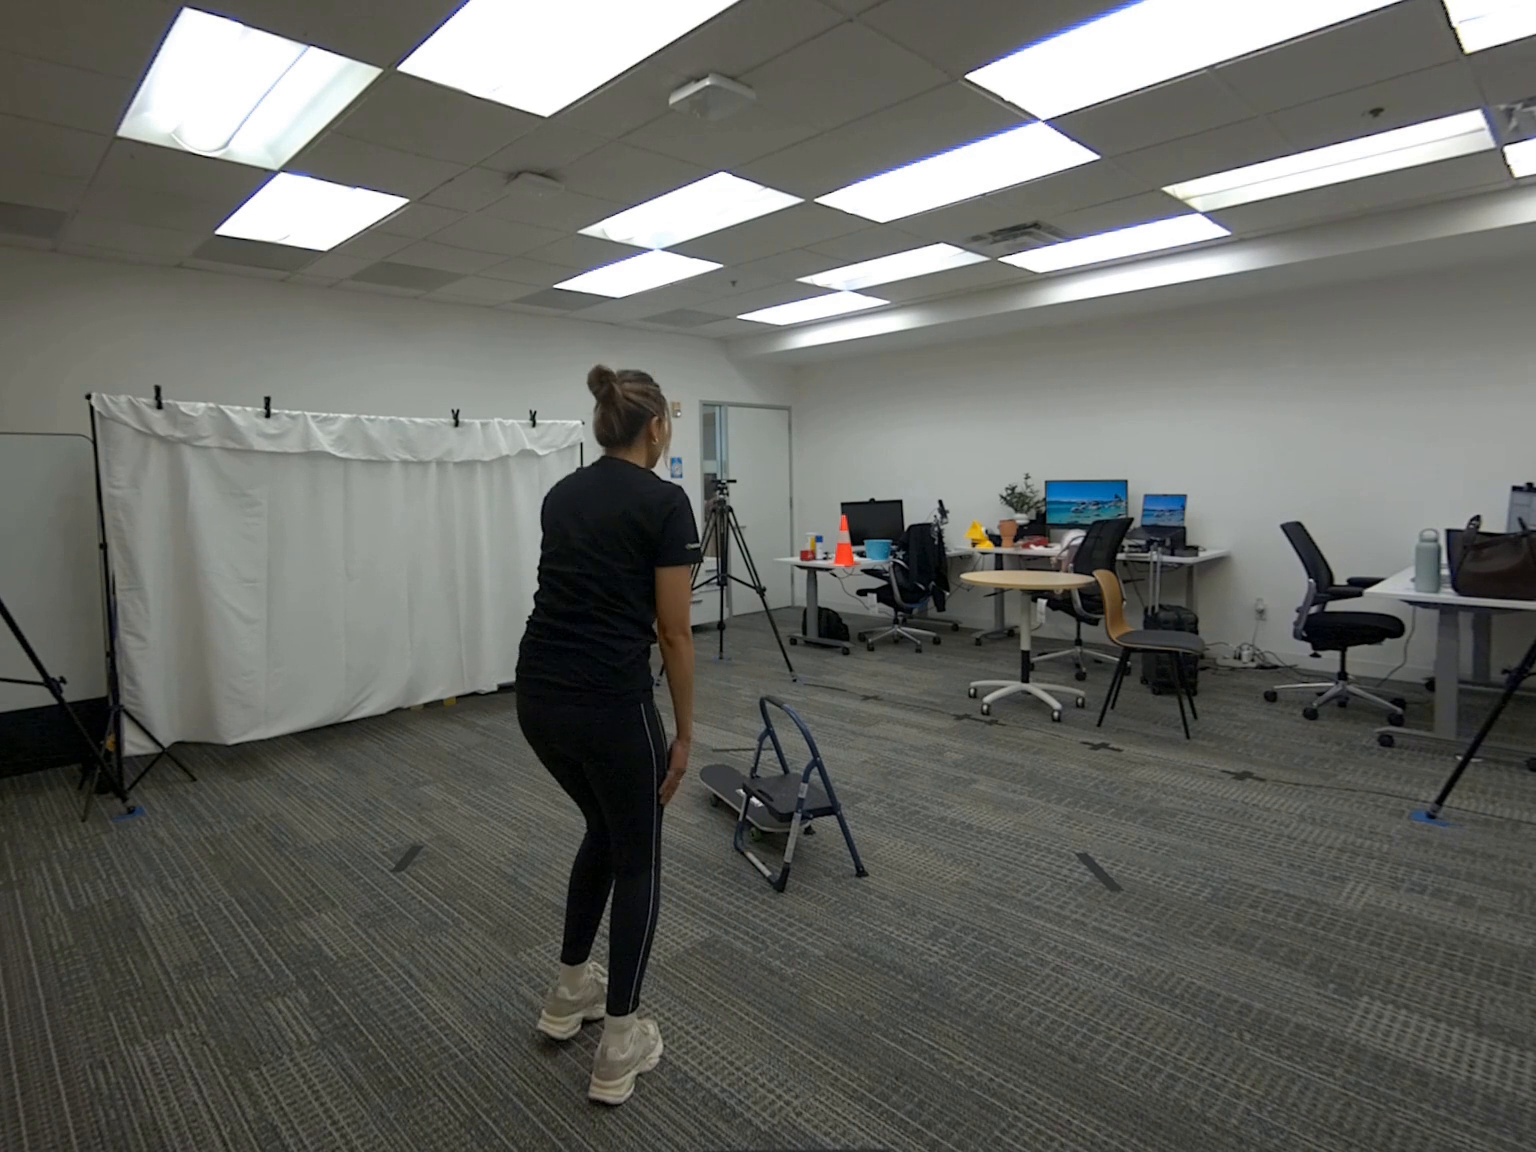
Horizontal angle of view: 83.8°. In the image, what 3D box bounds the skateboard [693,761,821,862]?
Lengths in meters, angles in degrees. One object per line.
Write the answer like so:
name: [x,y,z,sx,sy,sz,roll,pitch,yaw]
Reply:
skateboard: [-0.070,0.943,3.522,0.189,0.110,0.805,-4,7,-26]
